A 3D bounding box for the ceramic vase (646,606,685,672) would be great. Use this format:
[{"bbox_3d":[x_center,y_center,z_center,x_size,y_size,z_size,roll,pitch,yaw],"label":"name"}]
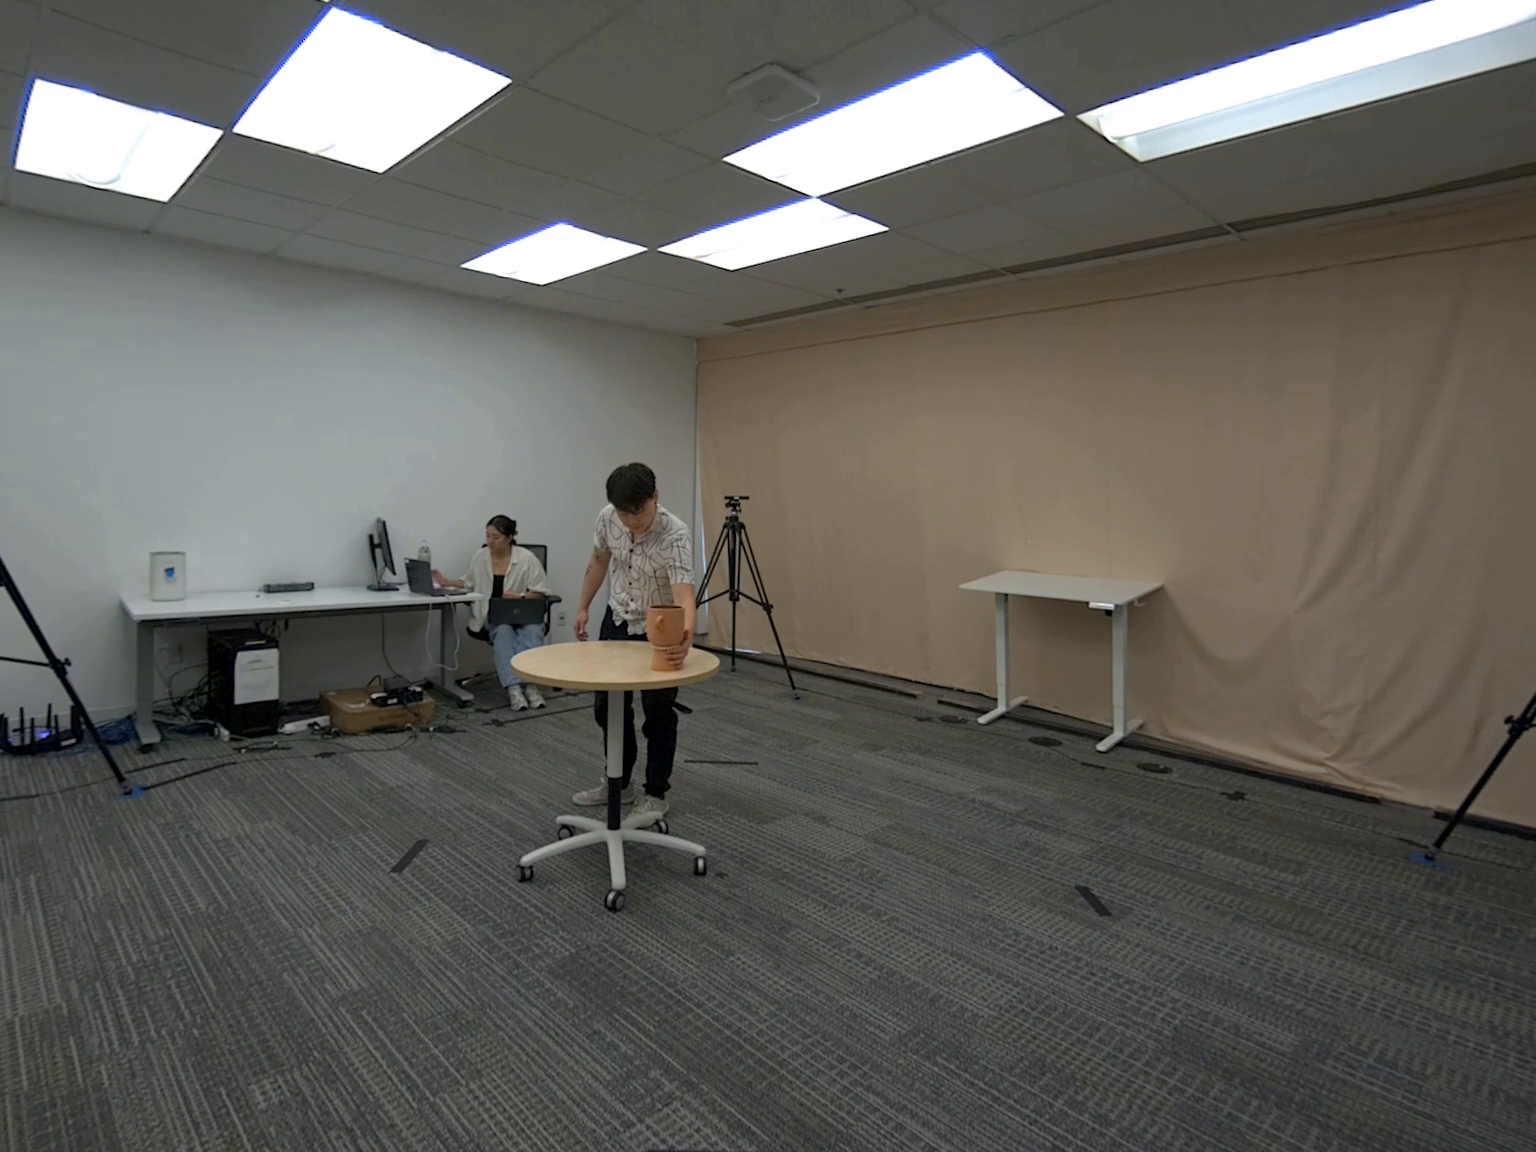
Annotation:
[{"bbox_3d":[-0.373,0.219,2.981,0.155,0.219,0.138,-1,5,-40],"label":"ceramic vase"}]
